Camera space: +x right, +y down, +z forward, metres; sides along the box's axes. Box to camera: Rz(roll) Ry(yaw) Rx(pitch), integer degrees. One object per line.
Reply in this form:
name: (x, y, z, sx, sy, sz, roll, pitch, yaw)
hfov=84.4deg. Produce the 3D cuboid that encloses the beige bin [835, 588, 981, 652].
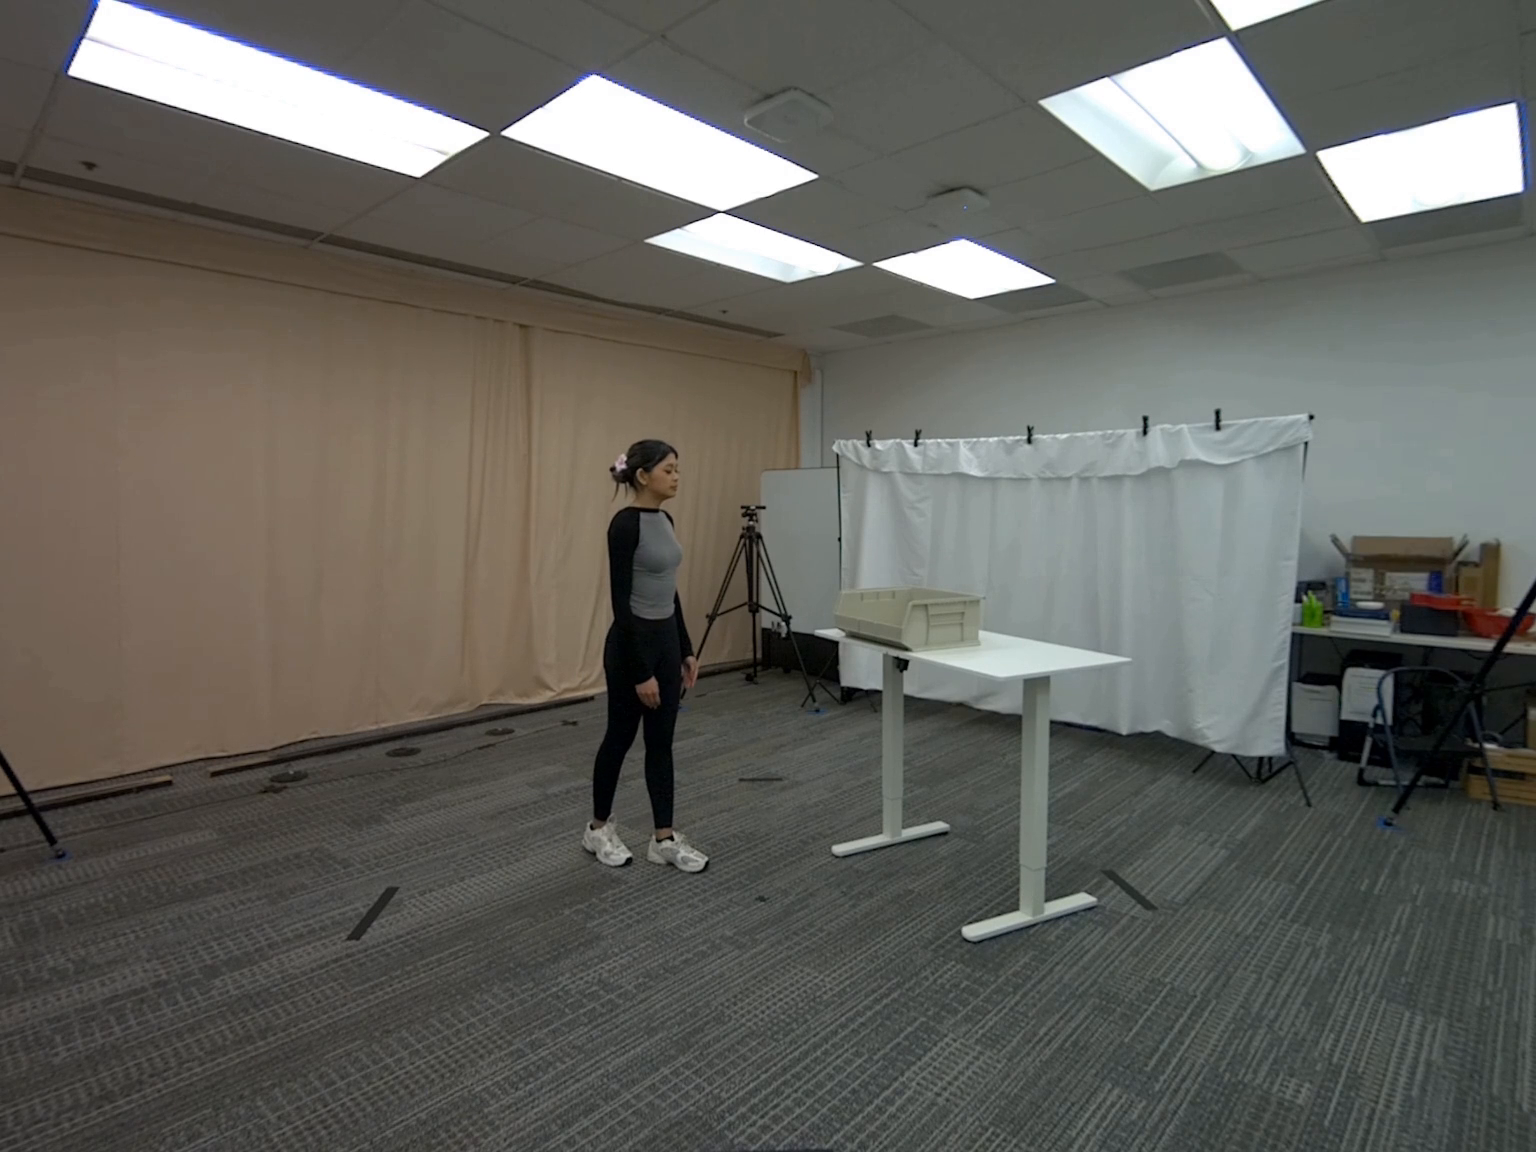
beige bin: (0.518, 0.156, 3.160, 0.367, 0.188, 0.434, -2, 5, -29)
